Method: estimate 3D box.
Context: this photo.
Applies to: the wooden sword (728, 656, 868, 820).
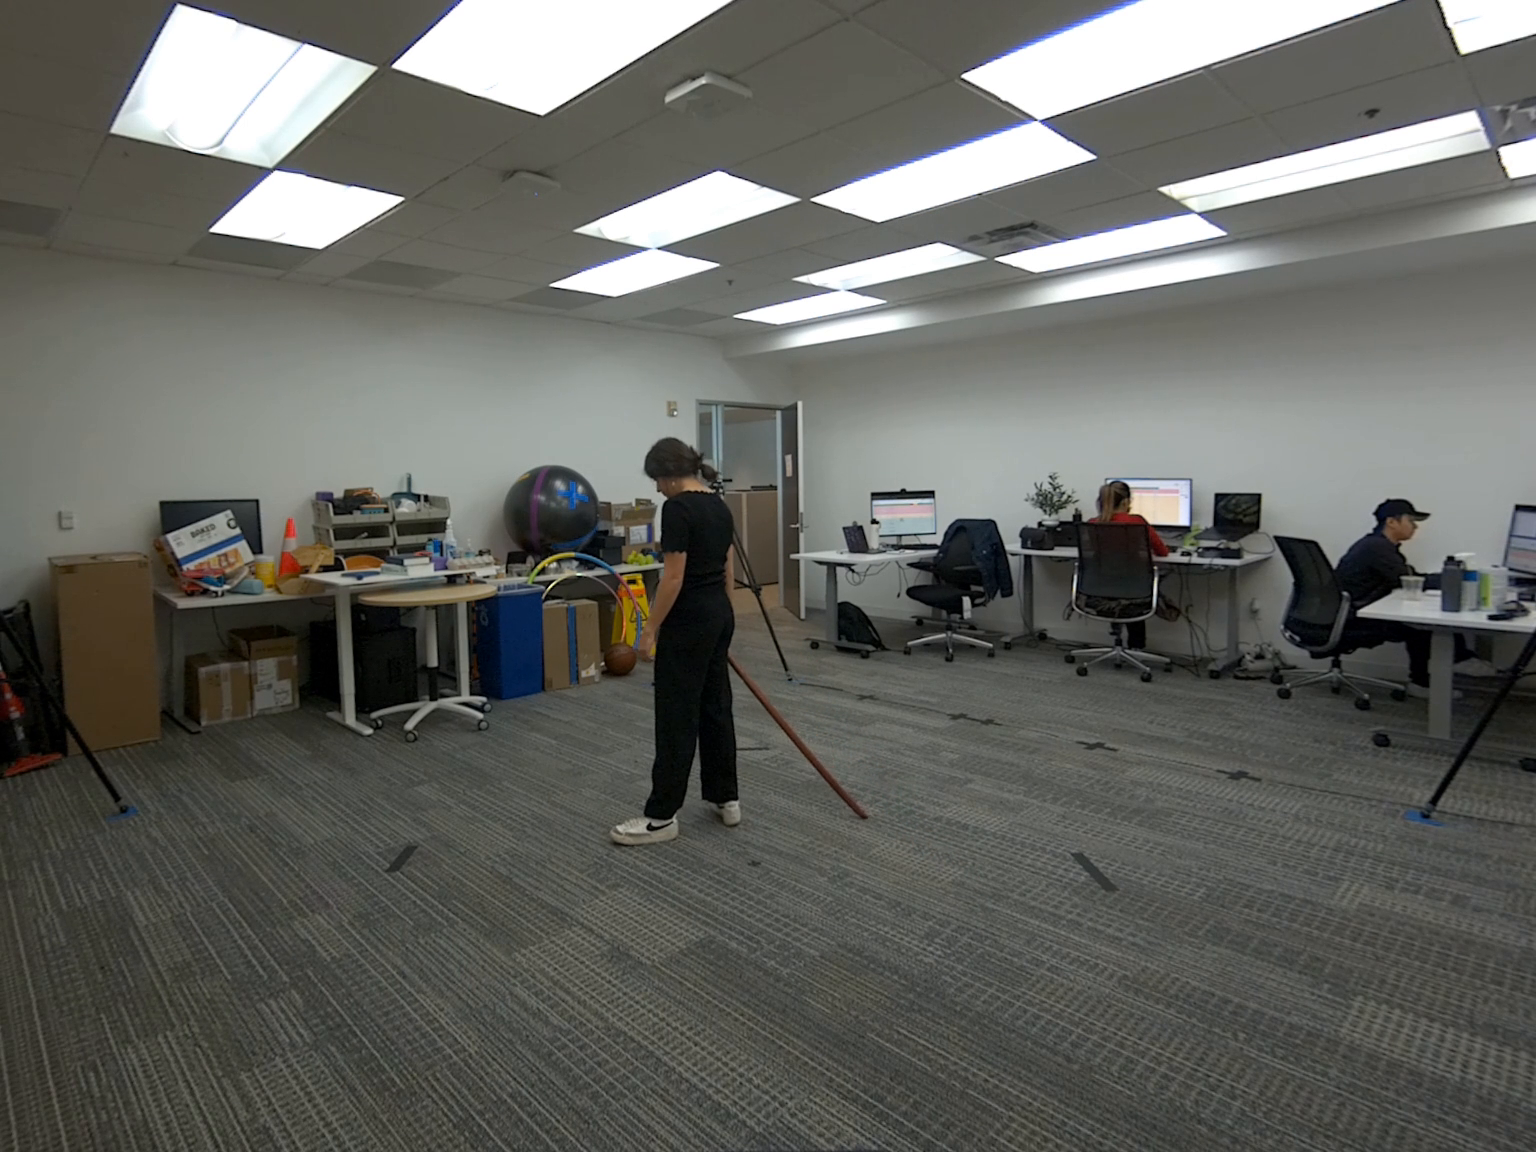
[{"bbox_3d":[0.061,0.615,3.607,0.024,1.042,0.050,-38,-13,-16],"label":"wooden sword"}]
